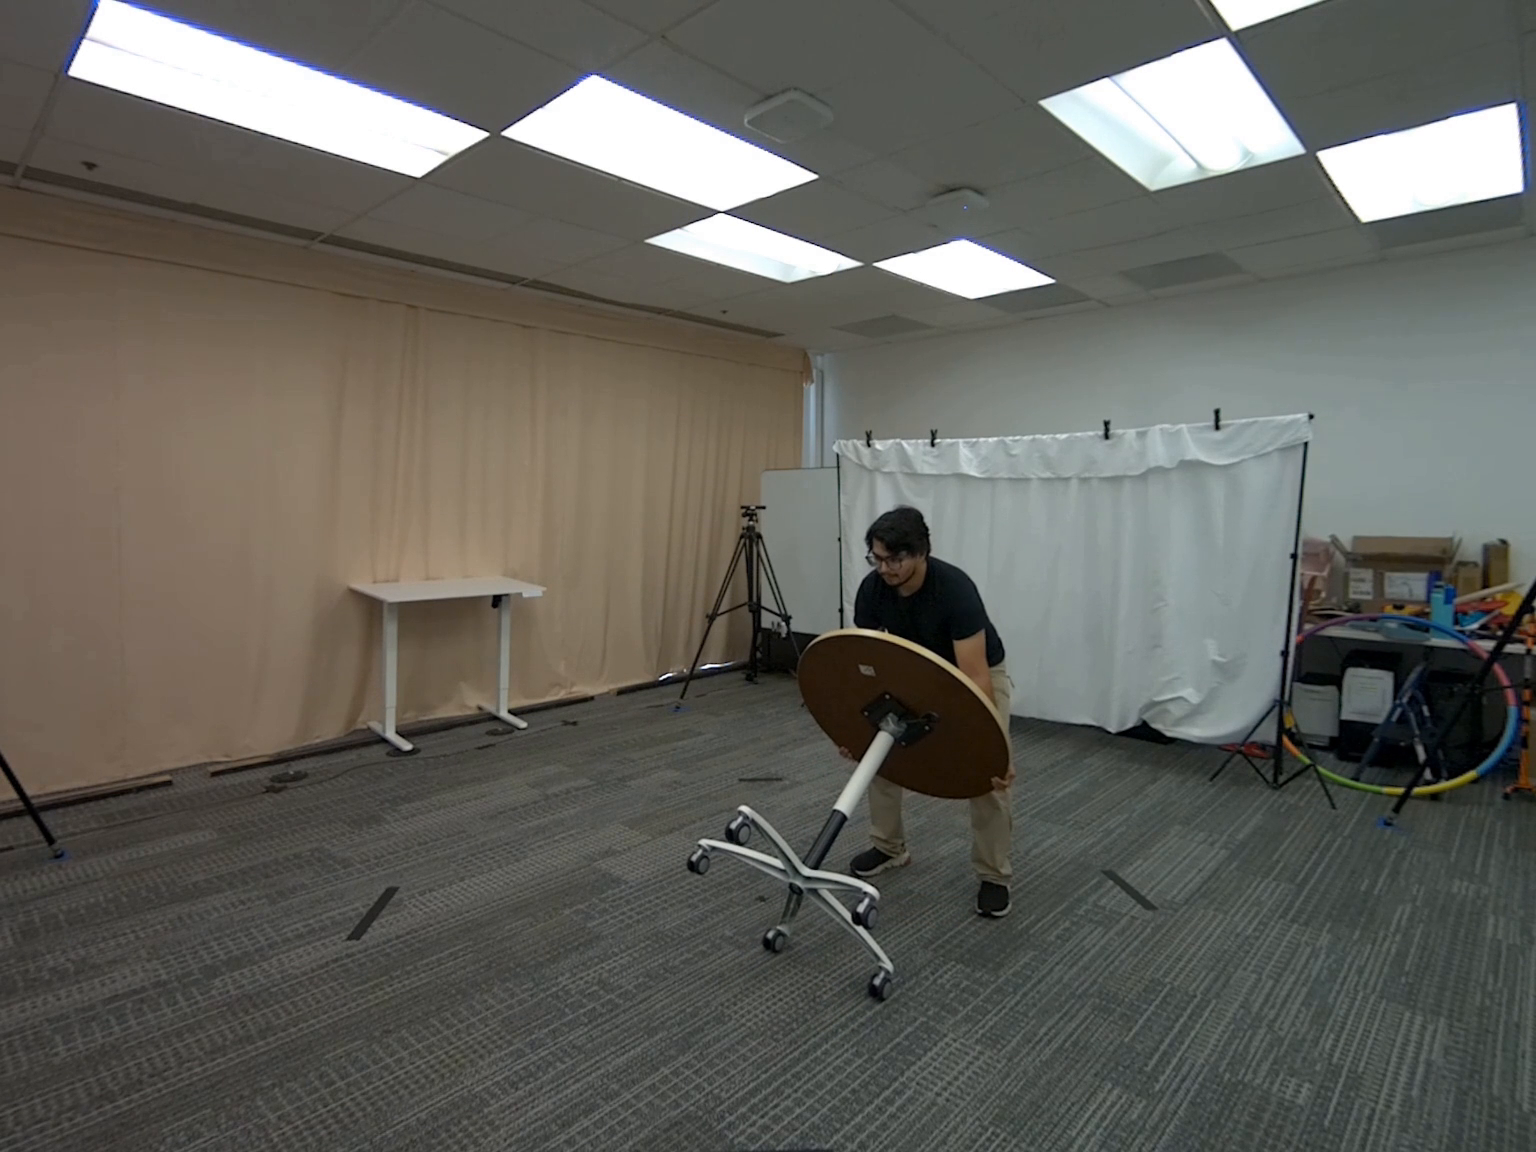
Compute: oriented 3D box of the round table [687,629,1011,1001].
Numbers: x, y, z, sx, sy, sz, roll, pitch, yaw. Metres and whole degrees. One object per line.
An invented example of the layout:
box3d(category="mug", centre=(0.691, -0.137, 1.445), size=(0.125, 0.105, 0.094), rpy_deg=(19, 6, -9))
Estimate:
box3d(category="round table", centre=(0.246, 0.722, 2.629), size=(0.811, 0.765, 0.781), rpy_deg=(3, 40, 40))
